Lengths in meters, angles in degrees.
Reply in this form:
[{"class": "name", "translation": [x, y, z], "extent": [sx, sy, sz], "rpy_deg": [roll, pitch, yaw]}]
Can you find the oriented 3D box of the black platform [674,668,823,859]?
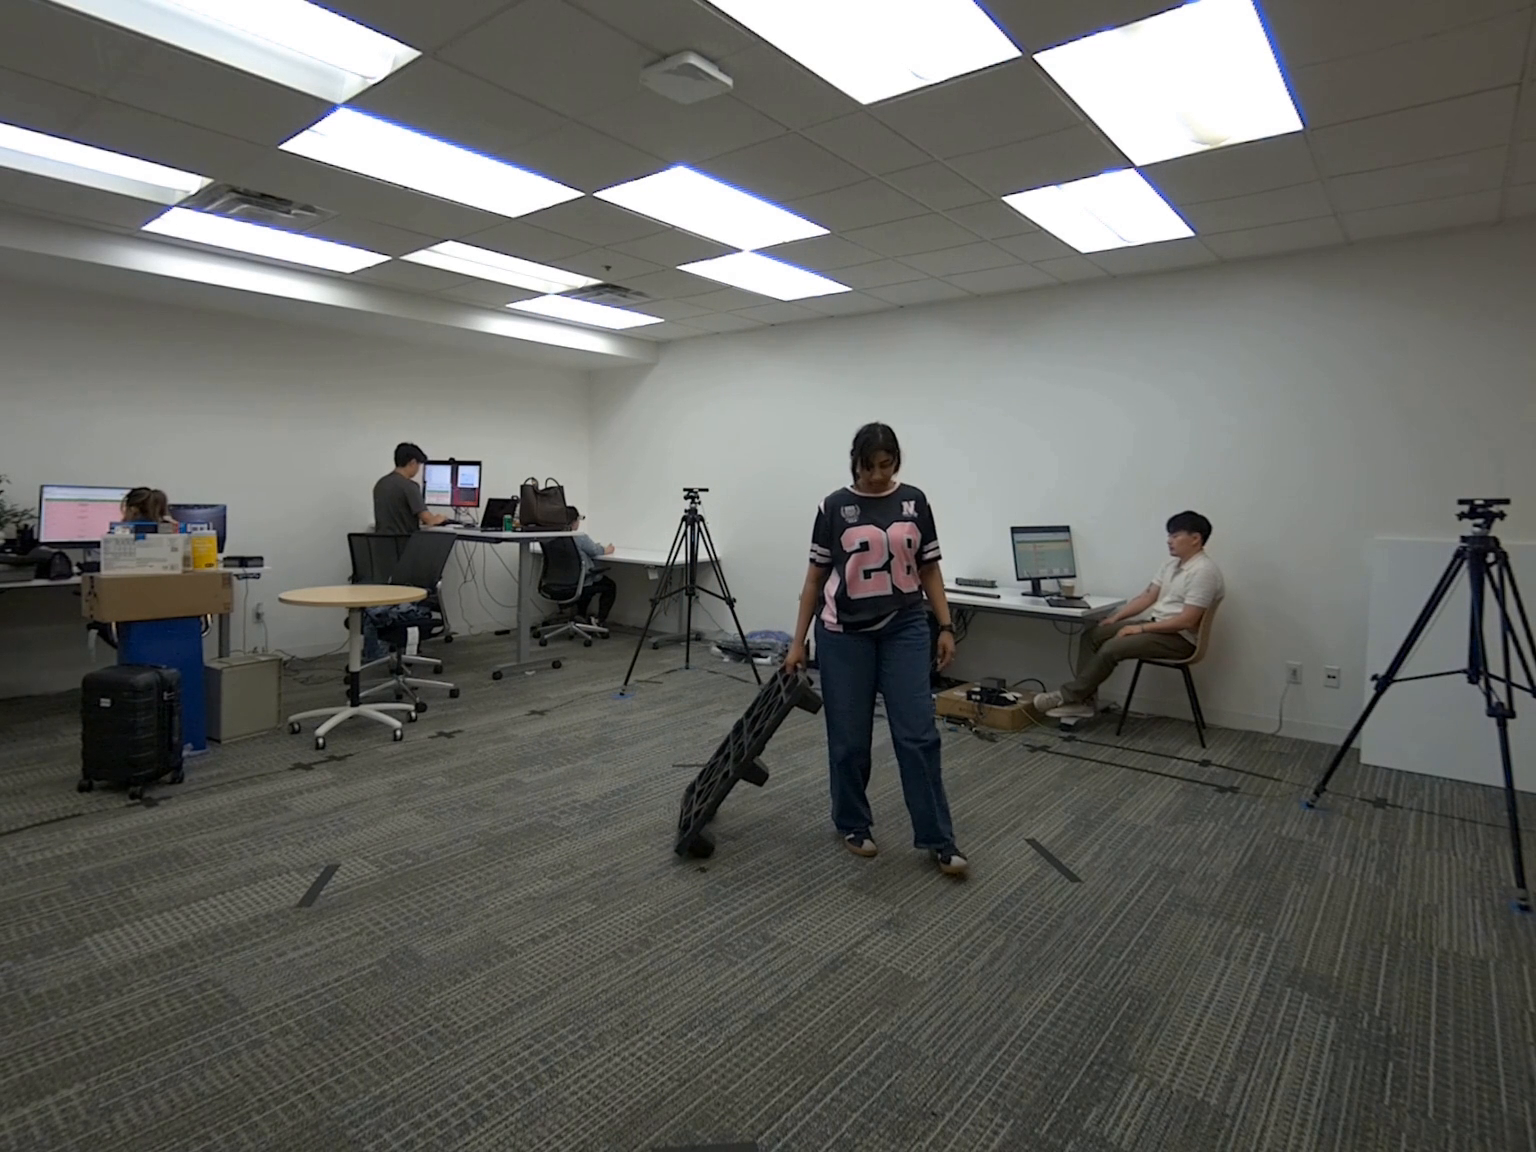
[{"class": "black platform", "translation": [-0.084, 0.707, 3.413], "extent": [0.143, 0.805, 0.608], "rpy_deg": [36, 2, -5]}]
